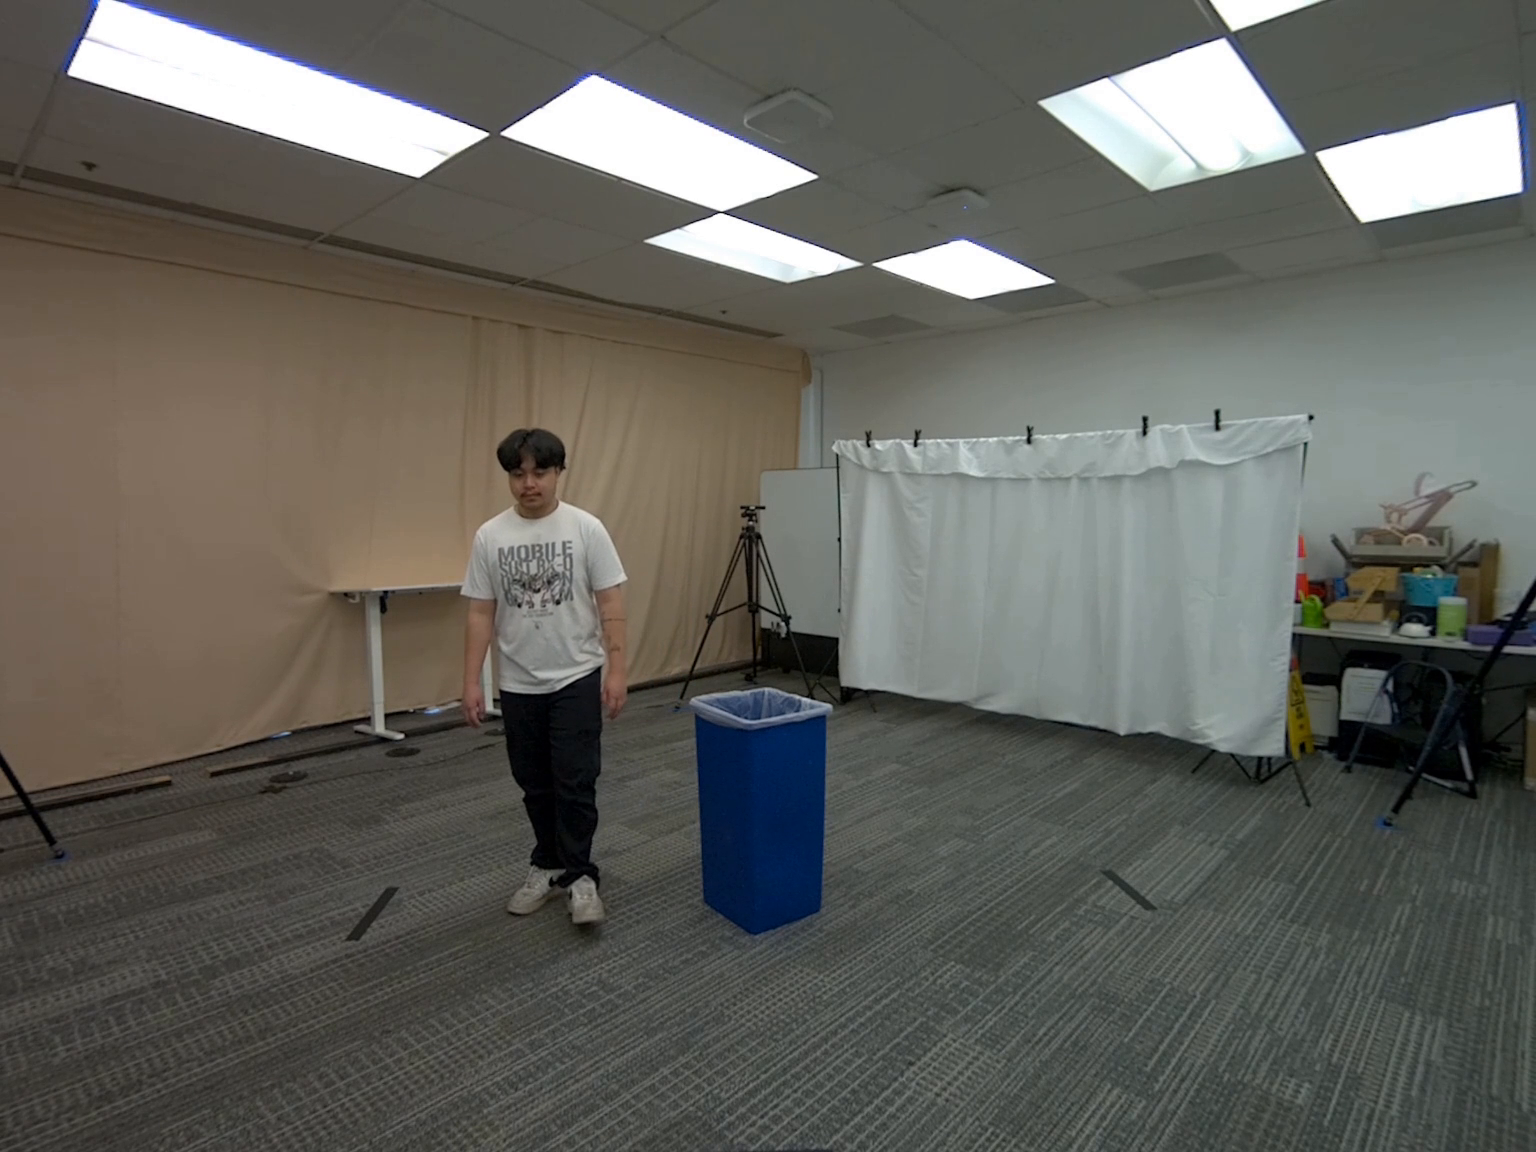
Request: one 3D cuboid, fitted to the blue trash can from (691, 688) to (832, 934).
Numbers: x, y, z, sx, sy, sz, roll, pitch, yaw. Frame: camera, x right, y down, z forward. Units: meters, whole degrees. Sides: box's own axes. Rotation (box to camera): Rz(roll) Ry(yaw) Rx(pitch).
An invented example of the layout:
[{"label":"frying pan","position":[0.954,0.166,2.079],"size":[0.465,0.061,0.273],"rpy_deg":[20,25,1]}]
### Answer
[{"label":"blue trash can","position":[-0.027,0.793,2.903],"size":[0.363,0.712,0.390],"rpy_deg":[-2,4,-38]}]
